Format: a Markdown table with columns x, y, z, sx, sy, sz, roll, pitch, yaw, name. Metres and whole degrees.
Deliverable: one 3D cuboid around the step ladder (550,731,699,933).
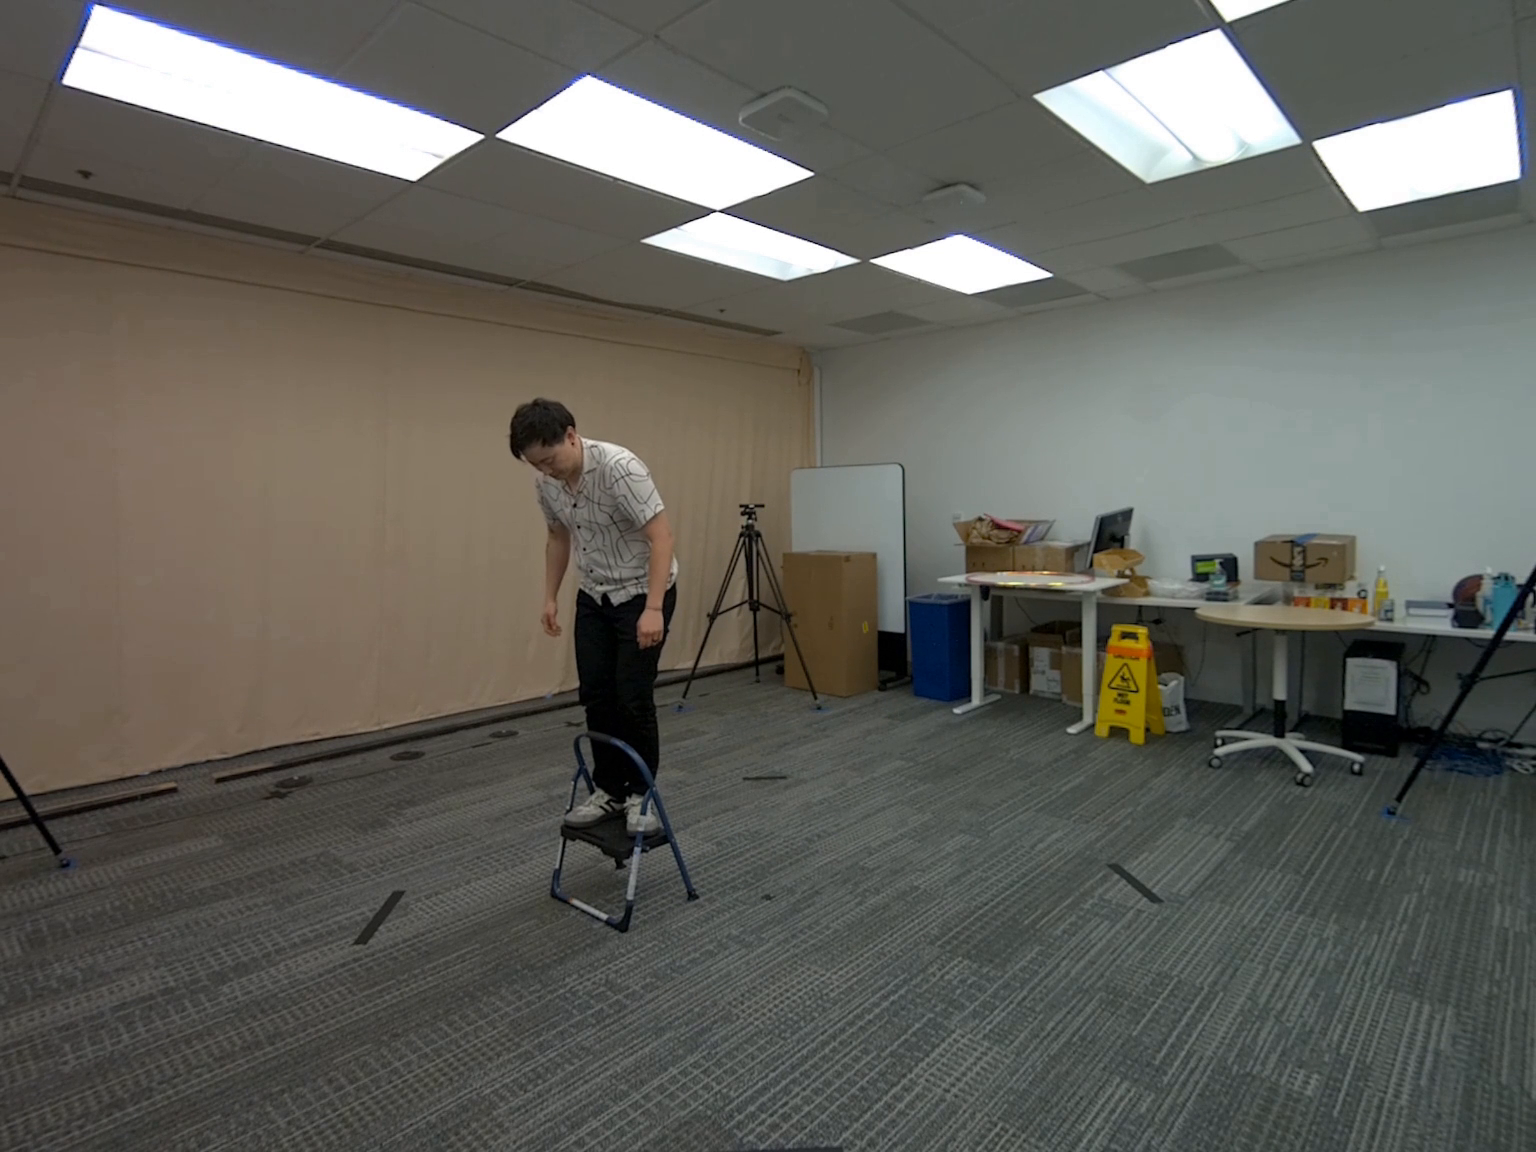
| x | y | z | sx | sy | sz | roll | pitch | yaw | name |
| --- | --- | --- | --- | --- | --- | --- | --- | --- | --- |
| -0.524 | 0.845 | 2.997 | 0.445 | 0.604 | 0.339 | 2 | 6 | 41 | step ladder |
